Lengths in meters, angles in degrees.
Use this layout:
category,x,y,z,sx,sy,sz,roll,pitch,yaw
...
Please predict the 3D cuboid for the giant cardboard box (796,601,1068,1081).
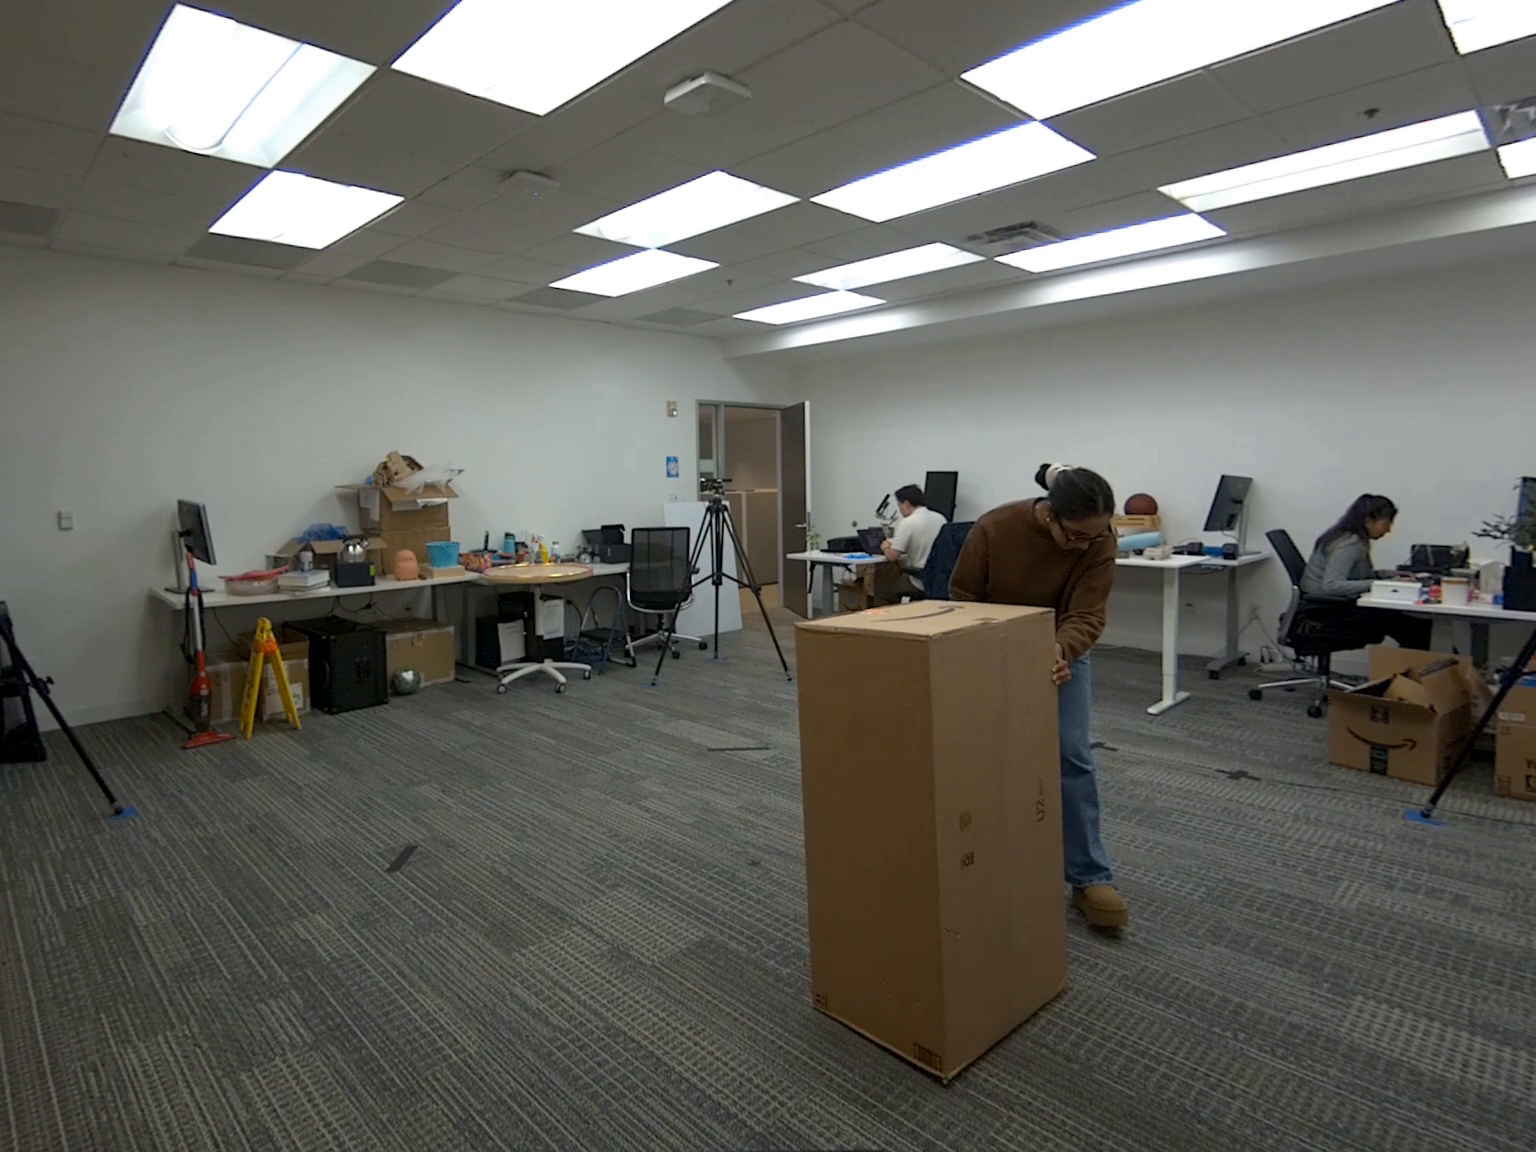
category,x,y,z,sx,sy,sz,roll,pitch,yaw
giant cardboard box,0.444,0.617,2.270,0.562,1.024,0.438,-4,3,-42
